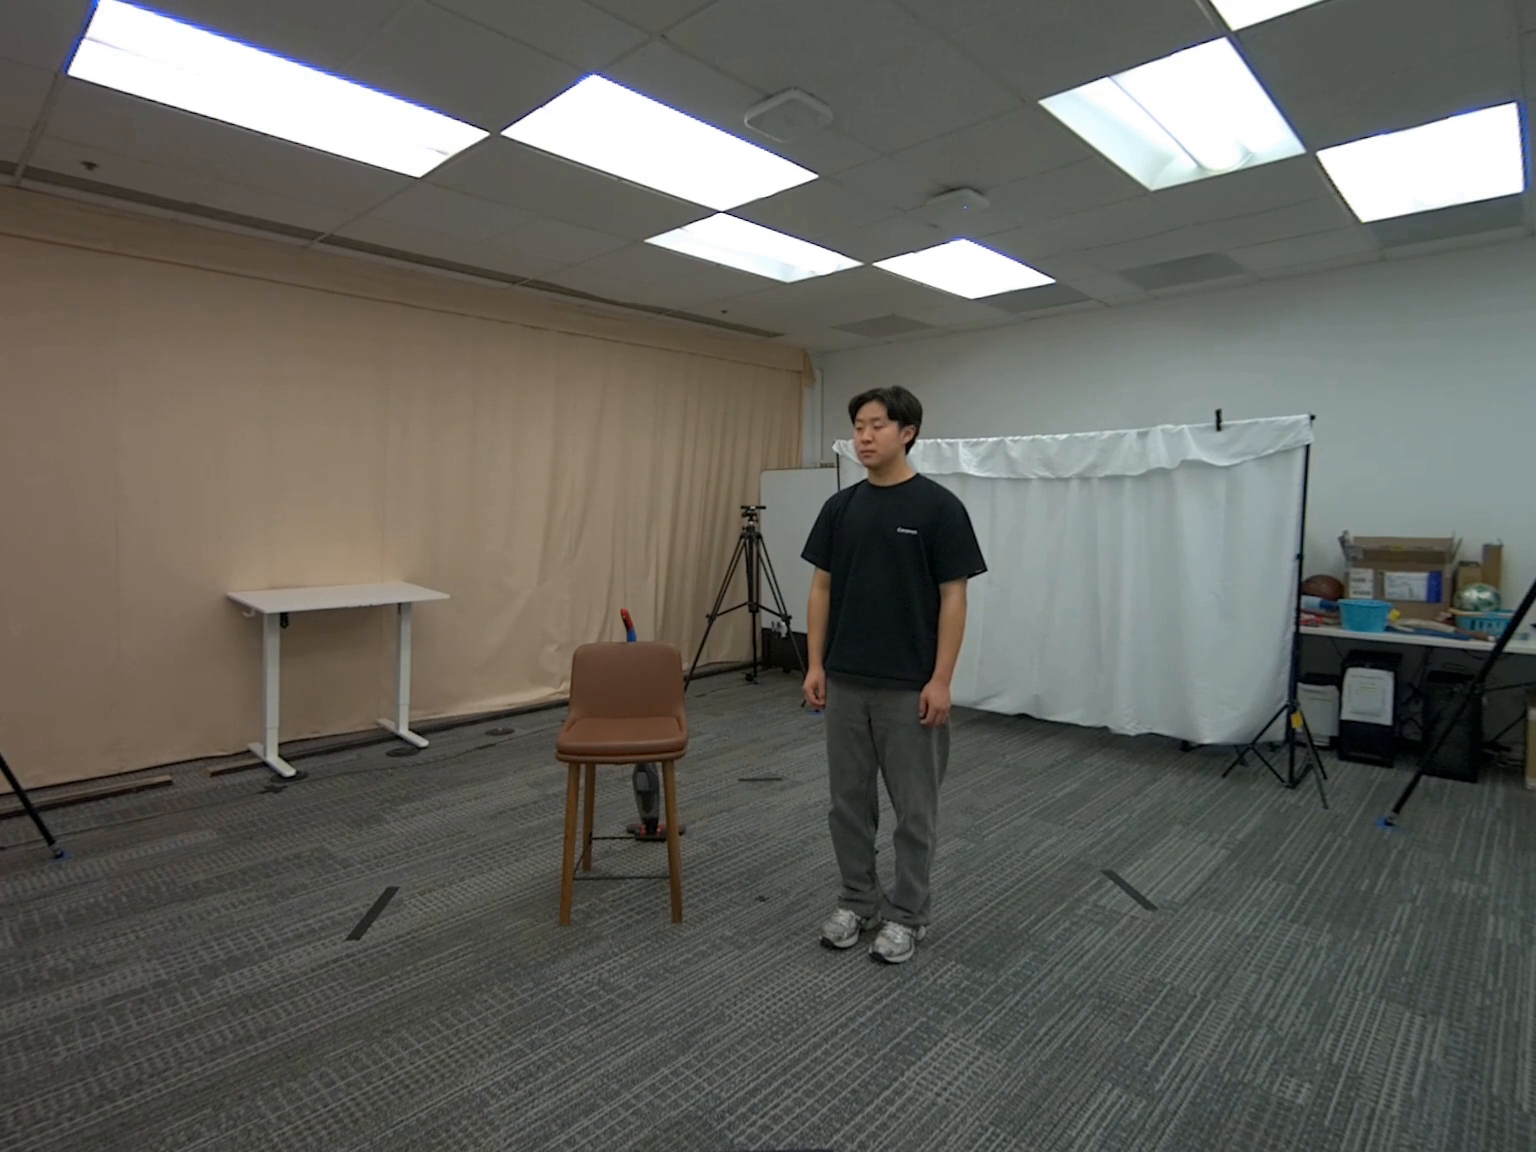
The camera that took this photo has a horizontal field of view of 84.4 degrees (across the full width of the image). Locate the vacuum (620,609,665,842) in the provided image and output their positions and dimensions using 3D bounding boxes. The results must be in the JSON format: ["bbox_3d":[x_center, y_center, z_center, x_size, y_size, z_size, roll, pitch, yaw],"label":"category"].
[{"bbox_3d":[-0.515,0.612,3.386,0.253,1.035,0.145,-3,20,3],"label":"vacuum"}]
